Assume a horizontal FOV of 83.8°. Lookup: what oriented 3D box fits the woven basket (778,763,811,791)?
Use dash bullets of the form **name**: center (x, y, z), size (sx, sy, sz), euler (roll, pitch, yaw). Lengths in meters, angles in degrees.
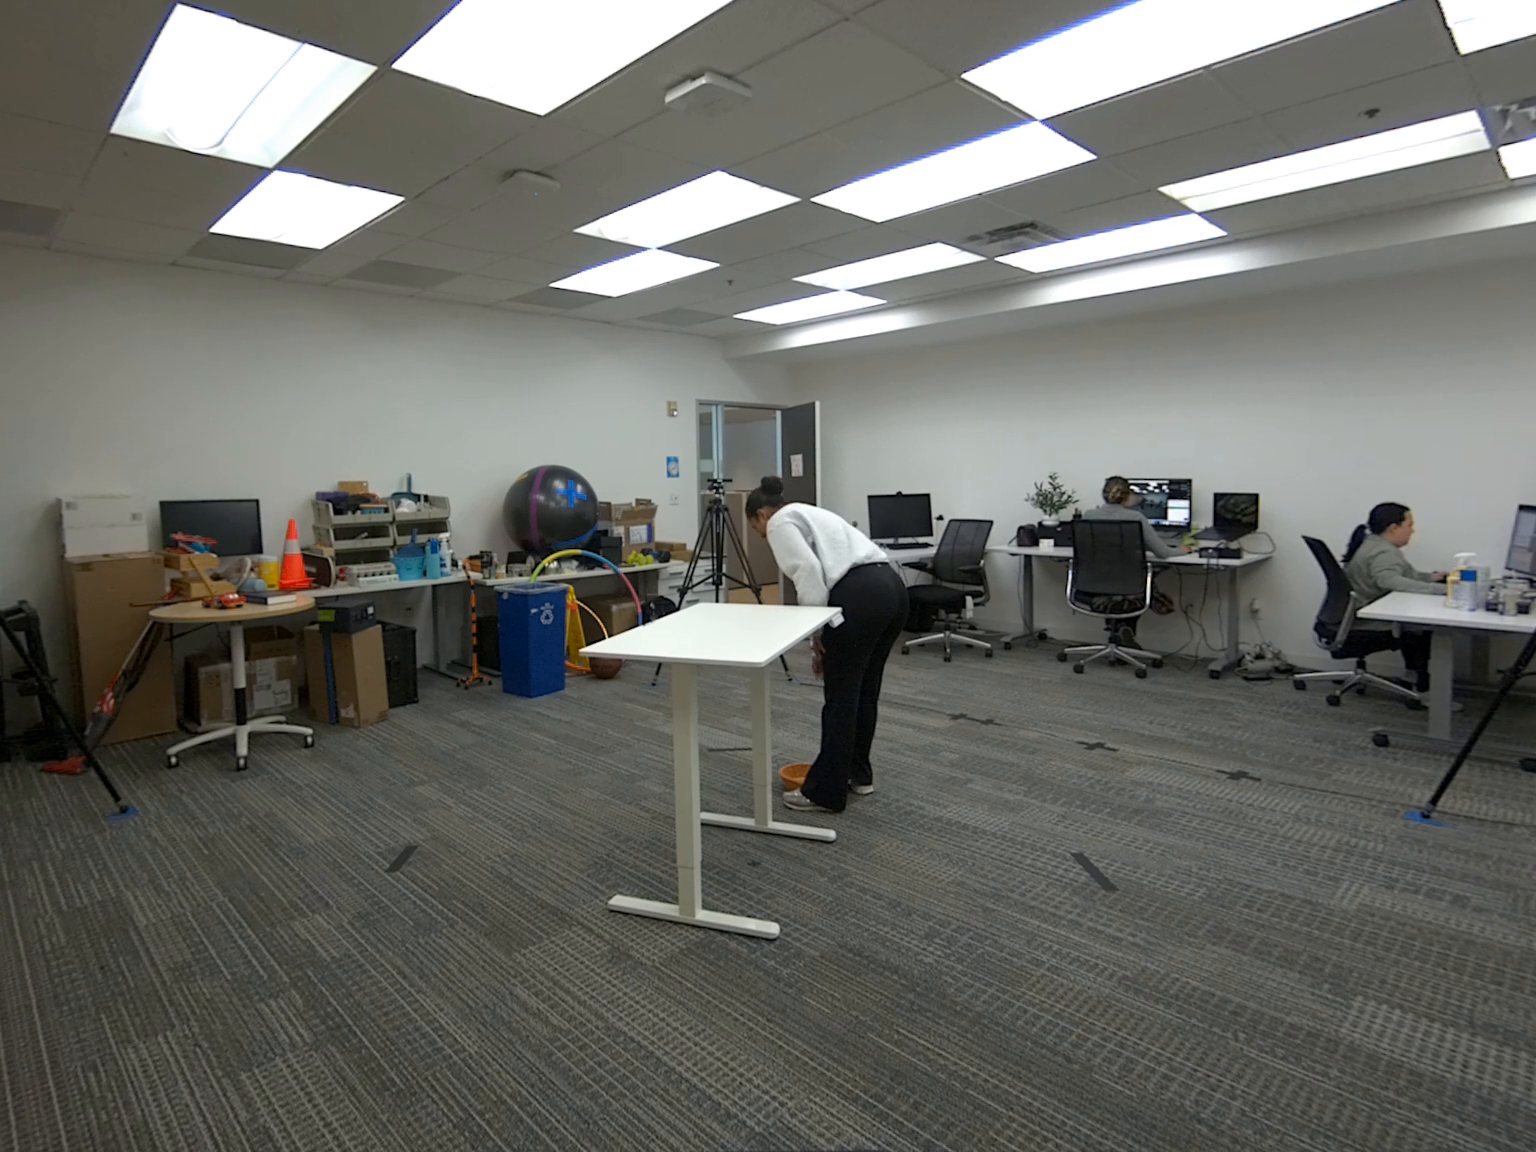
- **woven basket**: center (0.212, 0.921, 3.828), size (0.246, 0.073, 0.361), euler (-5, 7, -40)
